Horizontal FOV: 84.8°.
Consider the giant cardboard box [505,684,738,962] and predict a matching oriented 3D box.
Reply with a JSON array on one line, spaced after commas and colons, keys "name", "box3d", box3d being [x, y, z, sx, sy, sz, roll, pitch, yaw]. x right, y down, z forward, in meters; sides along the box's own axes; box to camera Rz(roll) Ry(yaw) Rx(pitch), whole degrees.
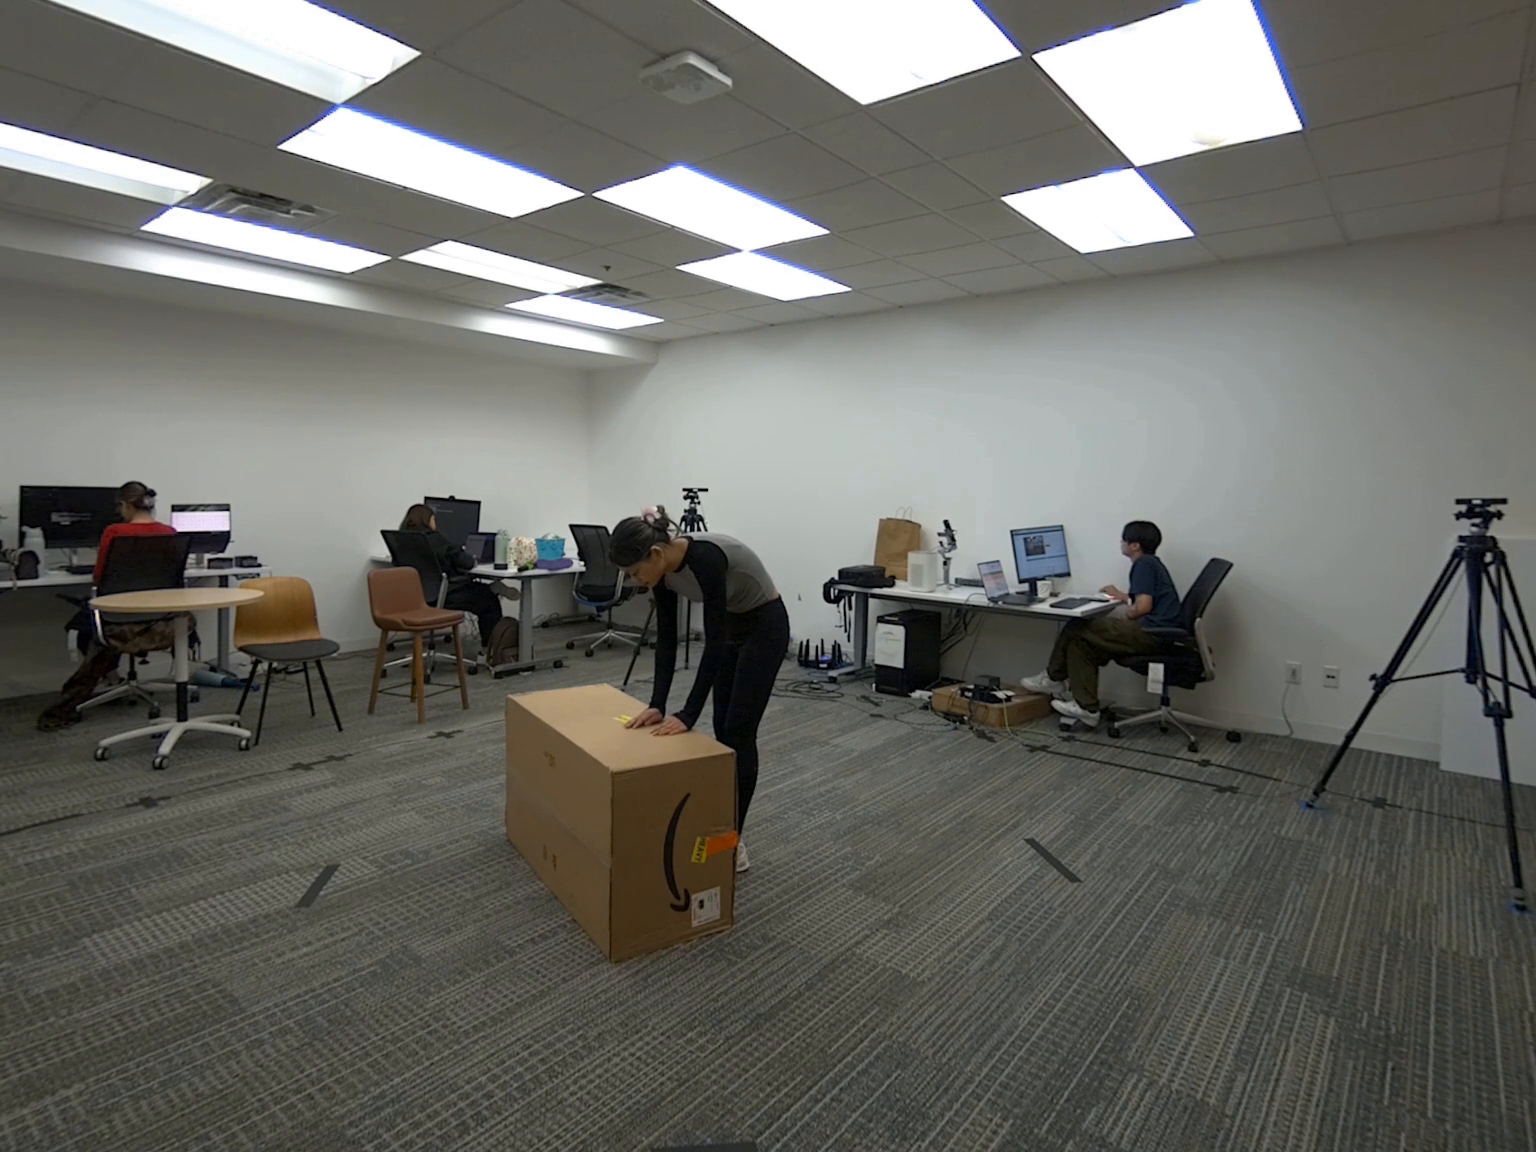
[{"name": "giant cardboard box", "box3d": [-0.574, 0.787, 2.998, 0.414, 0.575, 1.059, -2, 6, -33]}]
